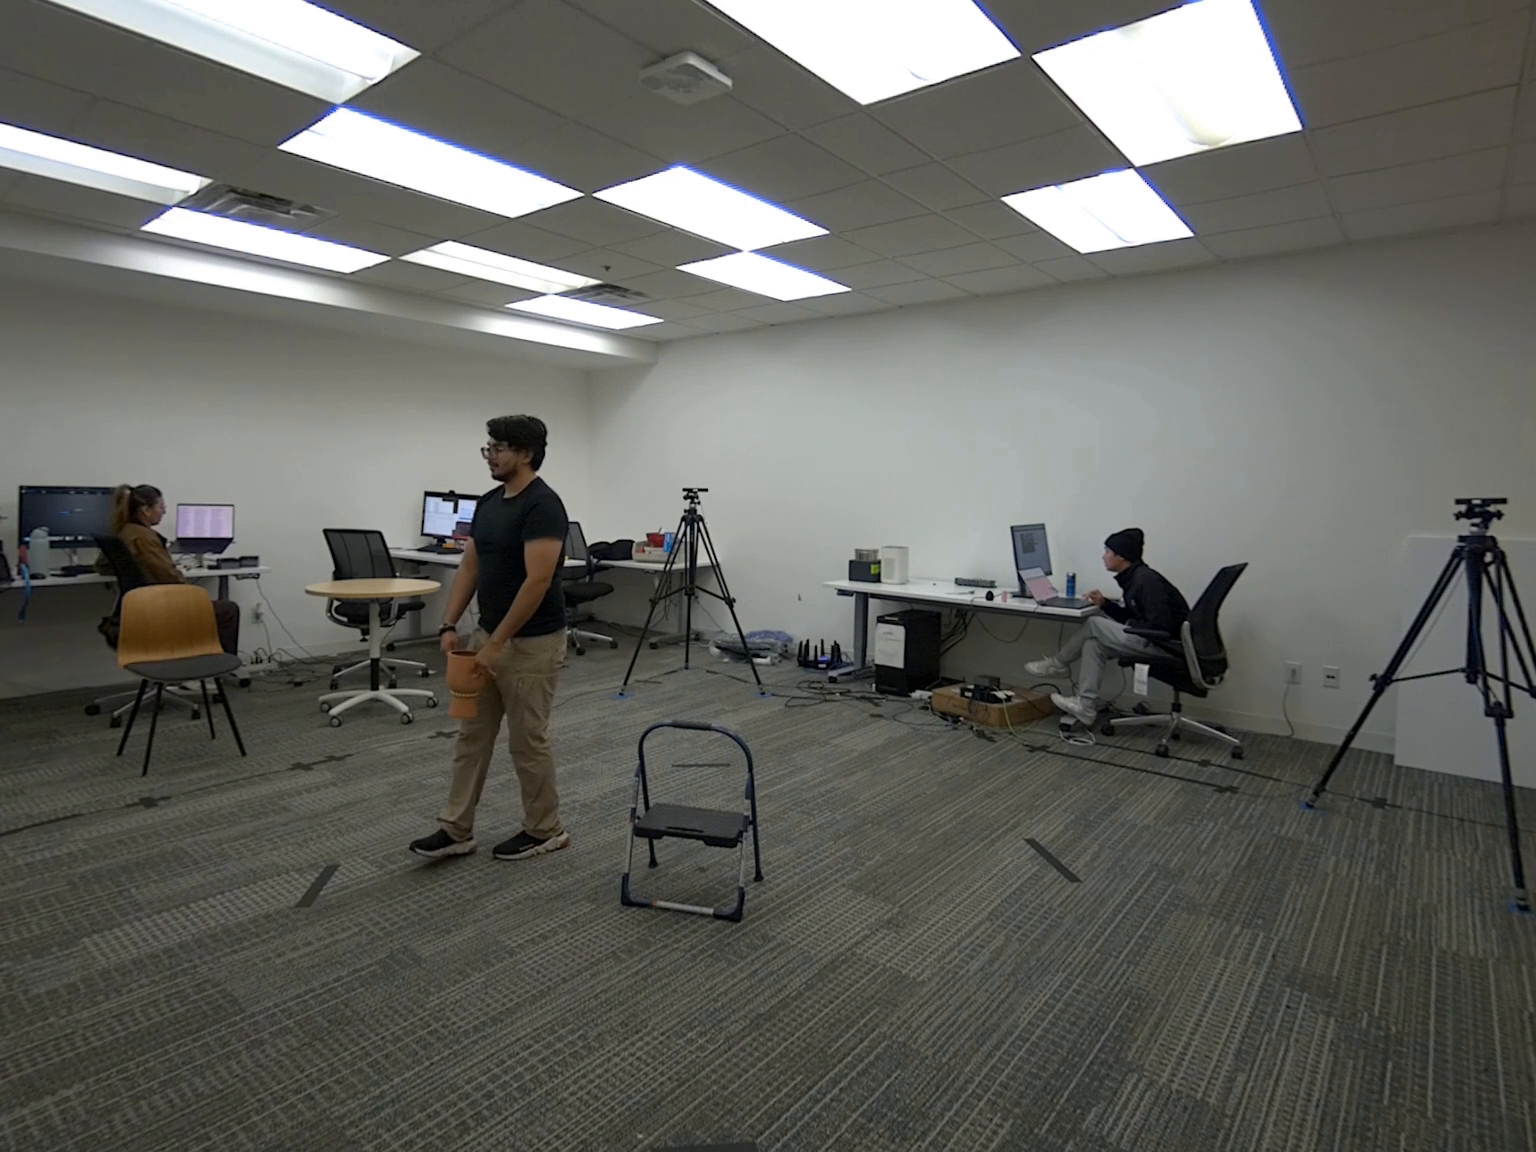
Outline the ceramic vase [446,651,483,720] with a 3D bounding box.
[{"bbox_3d":[-1.091,0.384,3.011,0.133,0.219,0.160,4,2,-8],"label":"ceramic vase"}]
